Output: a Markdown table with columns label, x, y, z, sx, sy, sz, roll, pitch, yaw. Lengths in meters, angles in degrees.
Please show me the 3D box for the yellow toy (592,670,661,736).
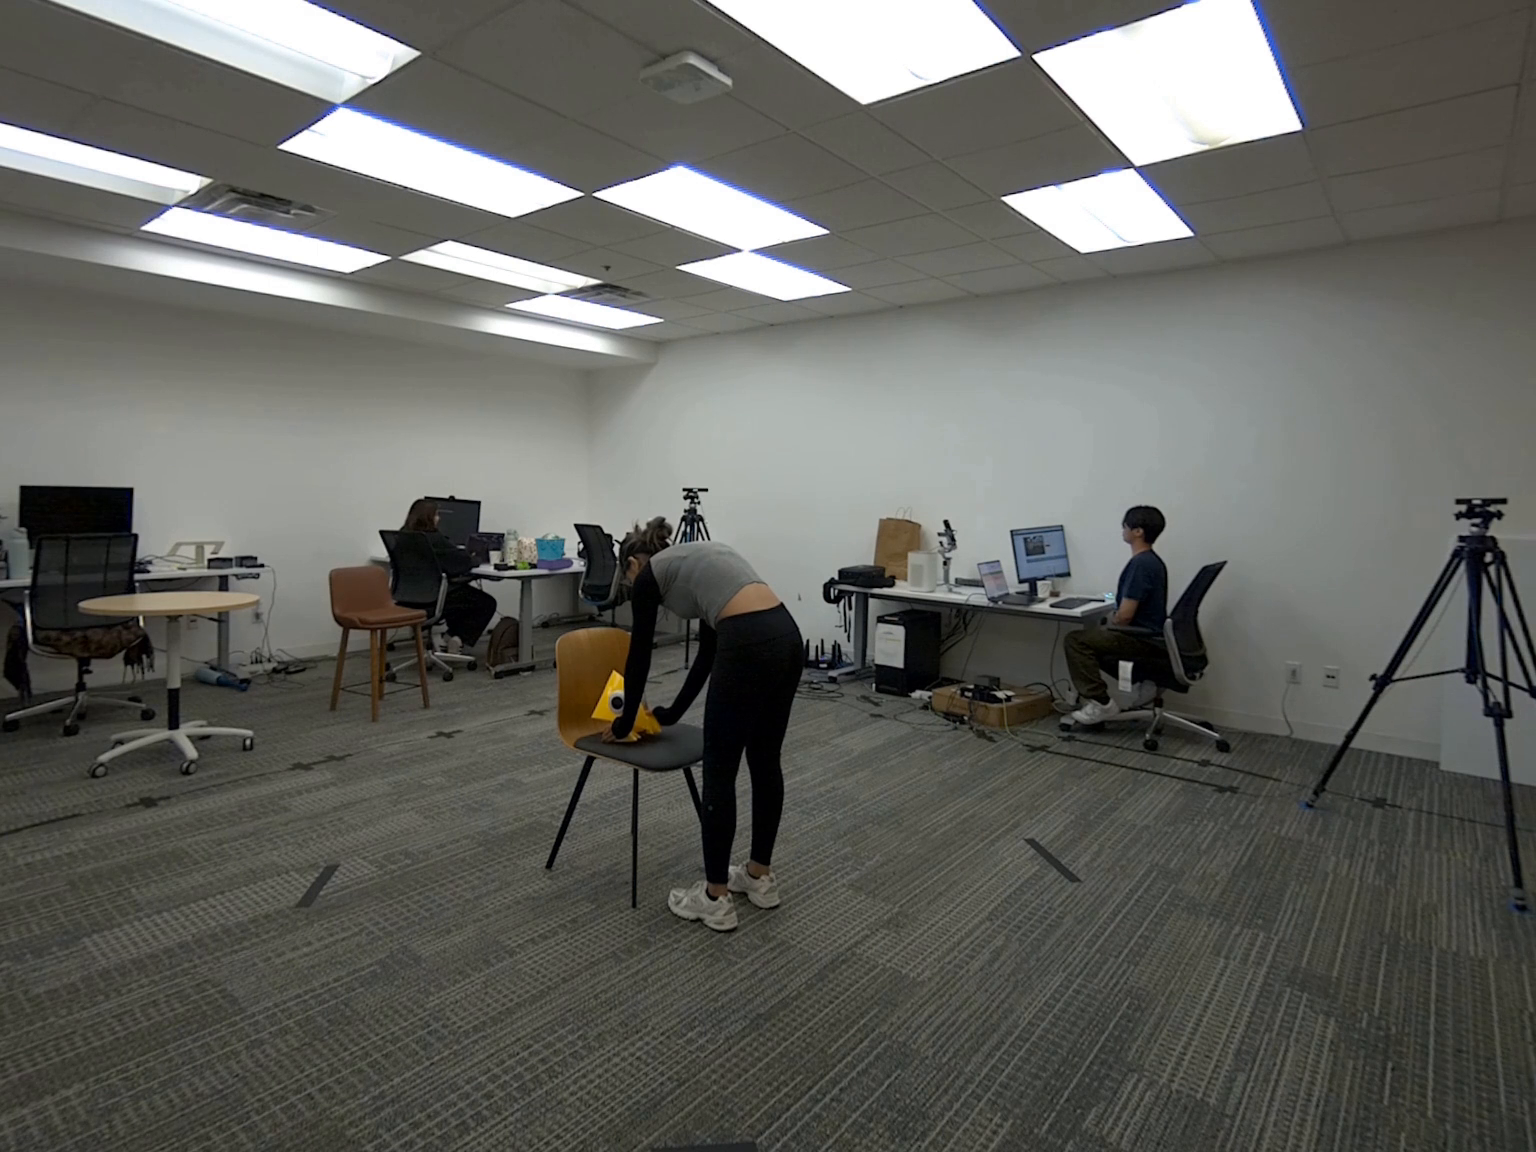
| label | x | y | z | sx | sy | sz | roll | pitch | yaw |
| --- | --- | --- | --- | --- | --- | --- | --- | --- | --- |
| yellow toy | -0.524 | 0.463 | 3.096 | 0.199 | 0.230 | 0.199 | -4 | 3 | 38 |
